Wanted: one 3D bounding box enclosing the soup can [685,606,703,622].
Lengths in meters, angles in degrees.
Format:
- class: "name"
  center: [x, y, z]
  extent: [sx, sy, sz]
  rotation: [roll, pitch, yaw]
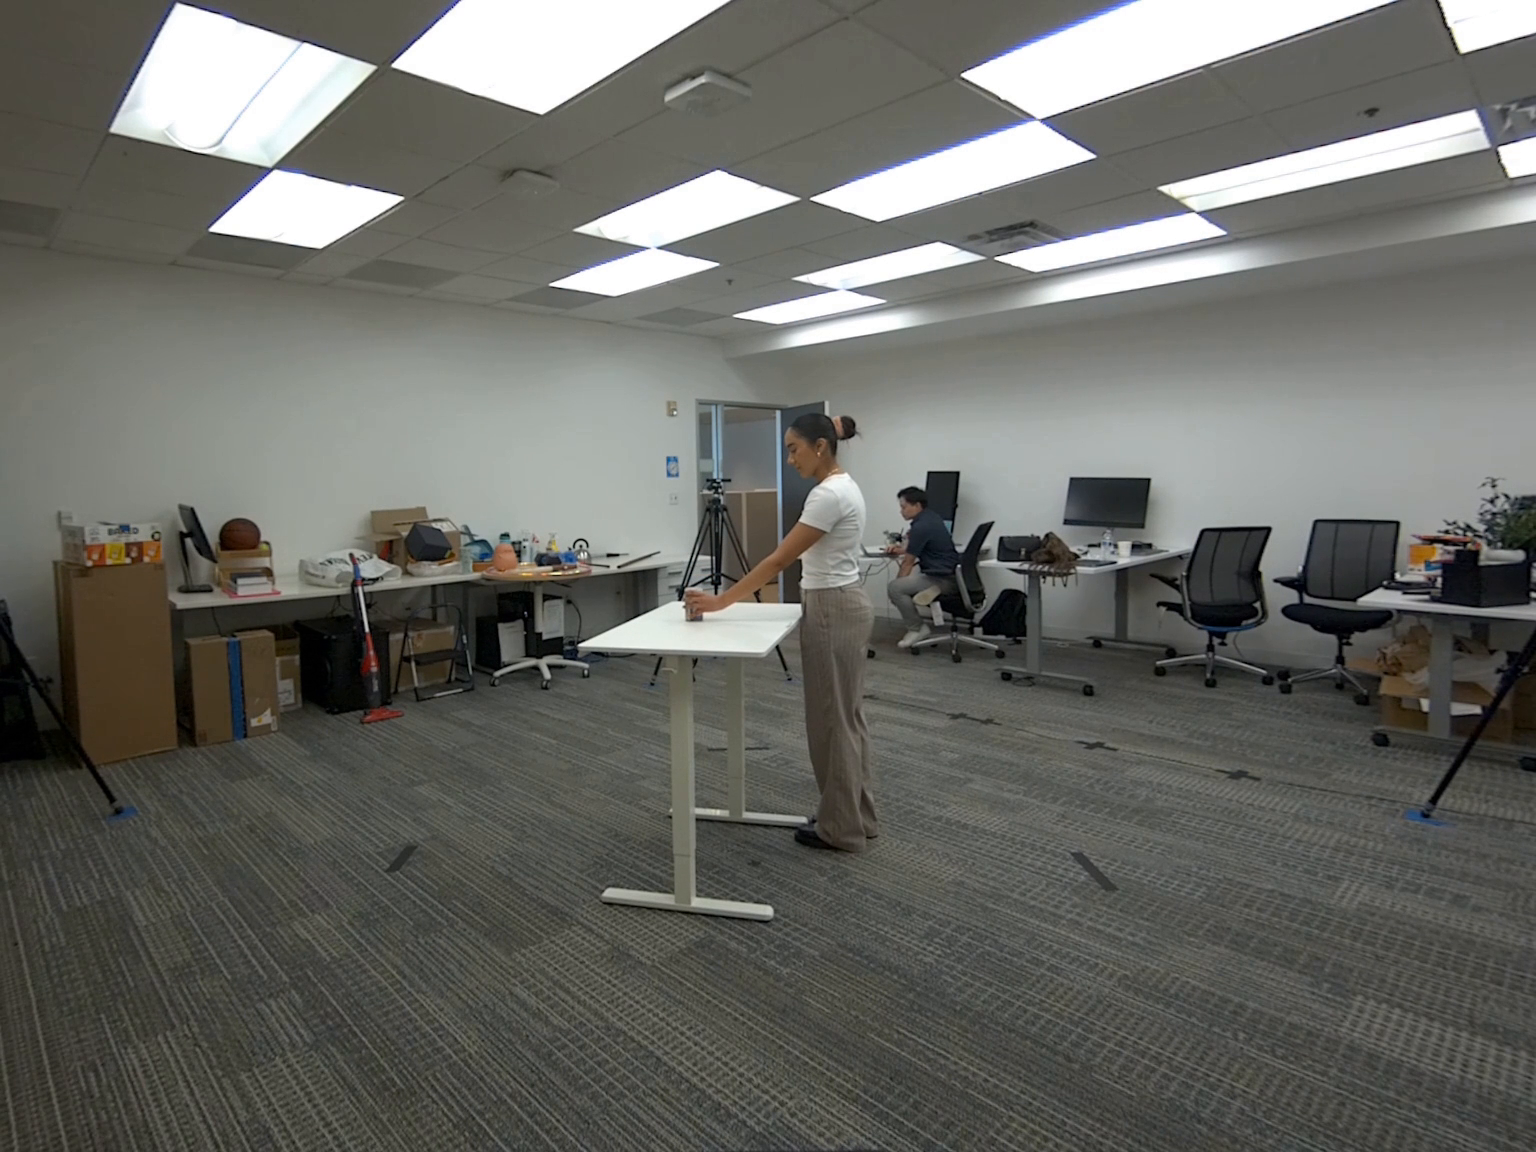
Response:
- class: "soup can"
  center: [-0.263, 0.106, 3.135]
  extent: [0.067, 0.121, 0.067]
  rotation: [-1, 6, -2]
